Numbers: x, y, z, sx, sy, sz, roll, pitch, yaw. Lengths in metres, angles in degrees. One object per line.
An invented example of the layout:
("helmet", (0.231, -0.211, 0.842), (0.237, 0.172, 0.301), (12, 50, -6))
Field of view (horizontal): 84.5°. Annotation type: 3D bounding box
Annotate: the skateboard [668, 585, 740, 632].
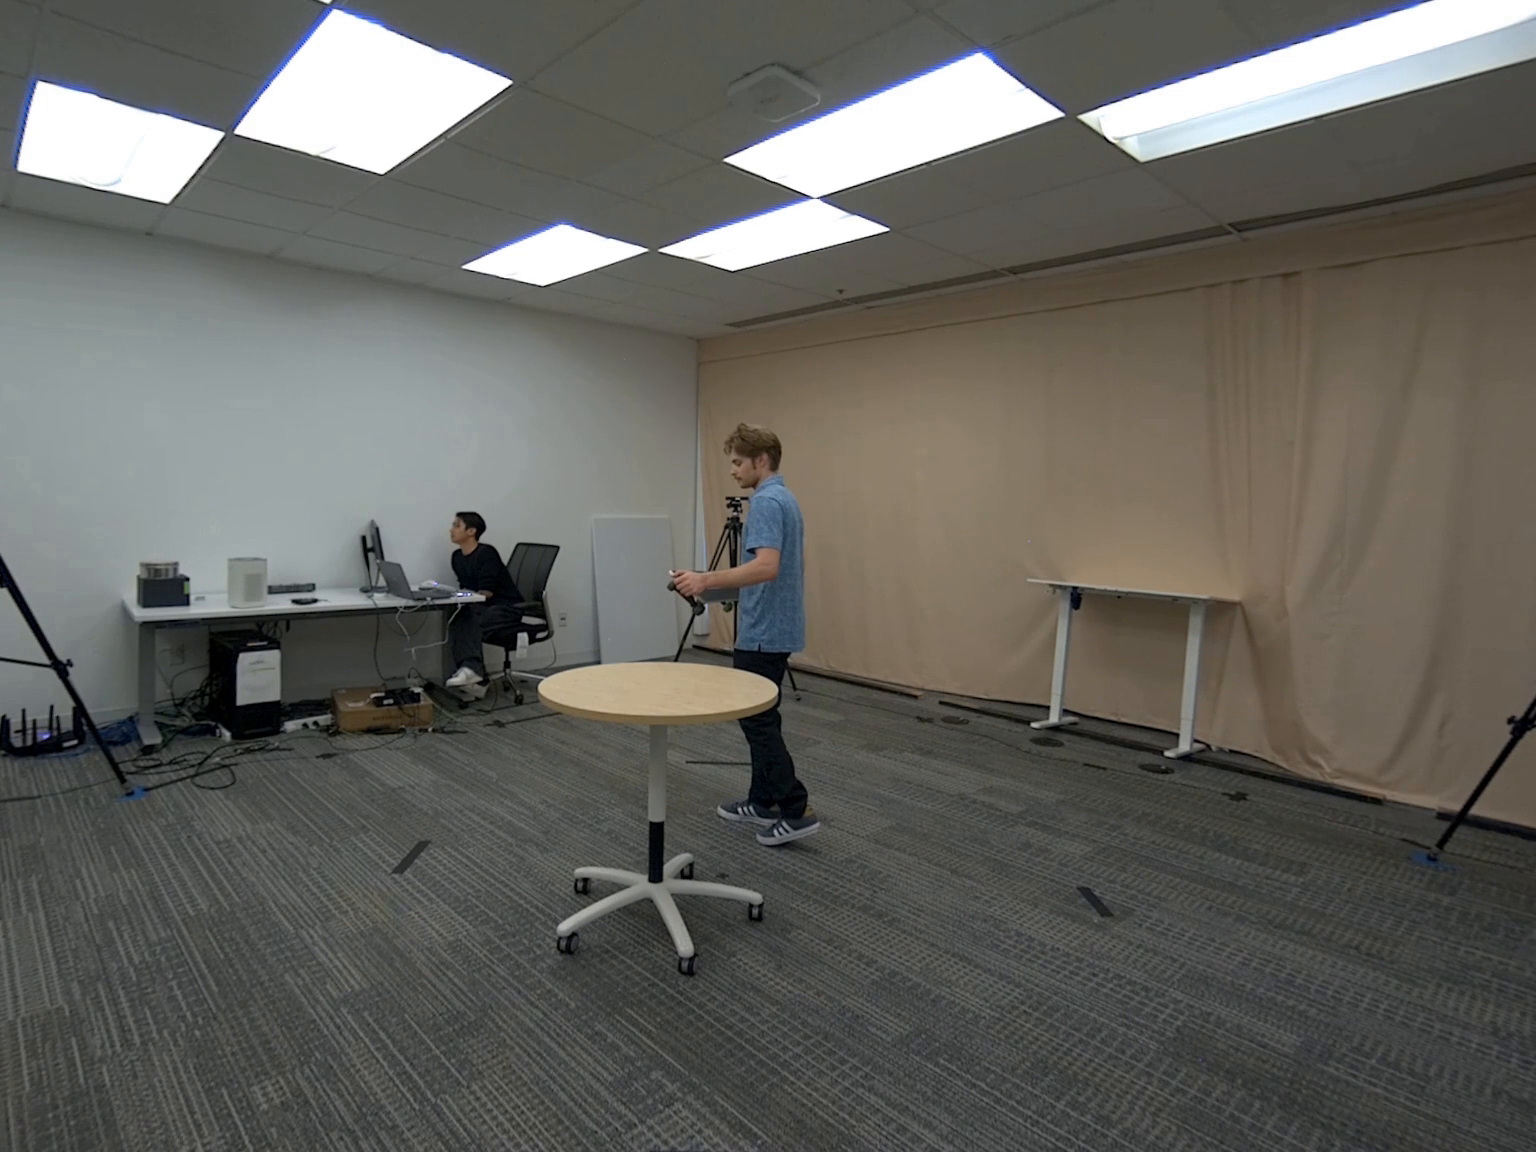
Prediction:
("skateboard", (-0.275, 0.073, 3.650), (0.196, 0.110, 0.774), (43, 12, 12))
